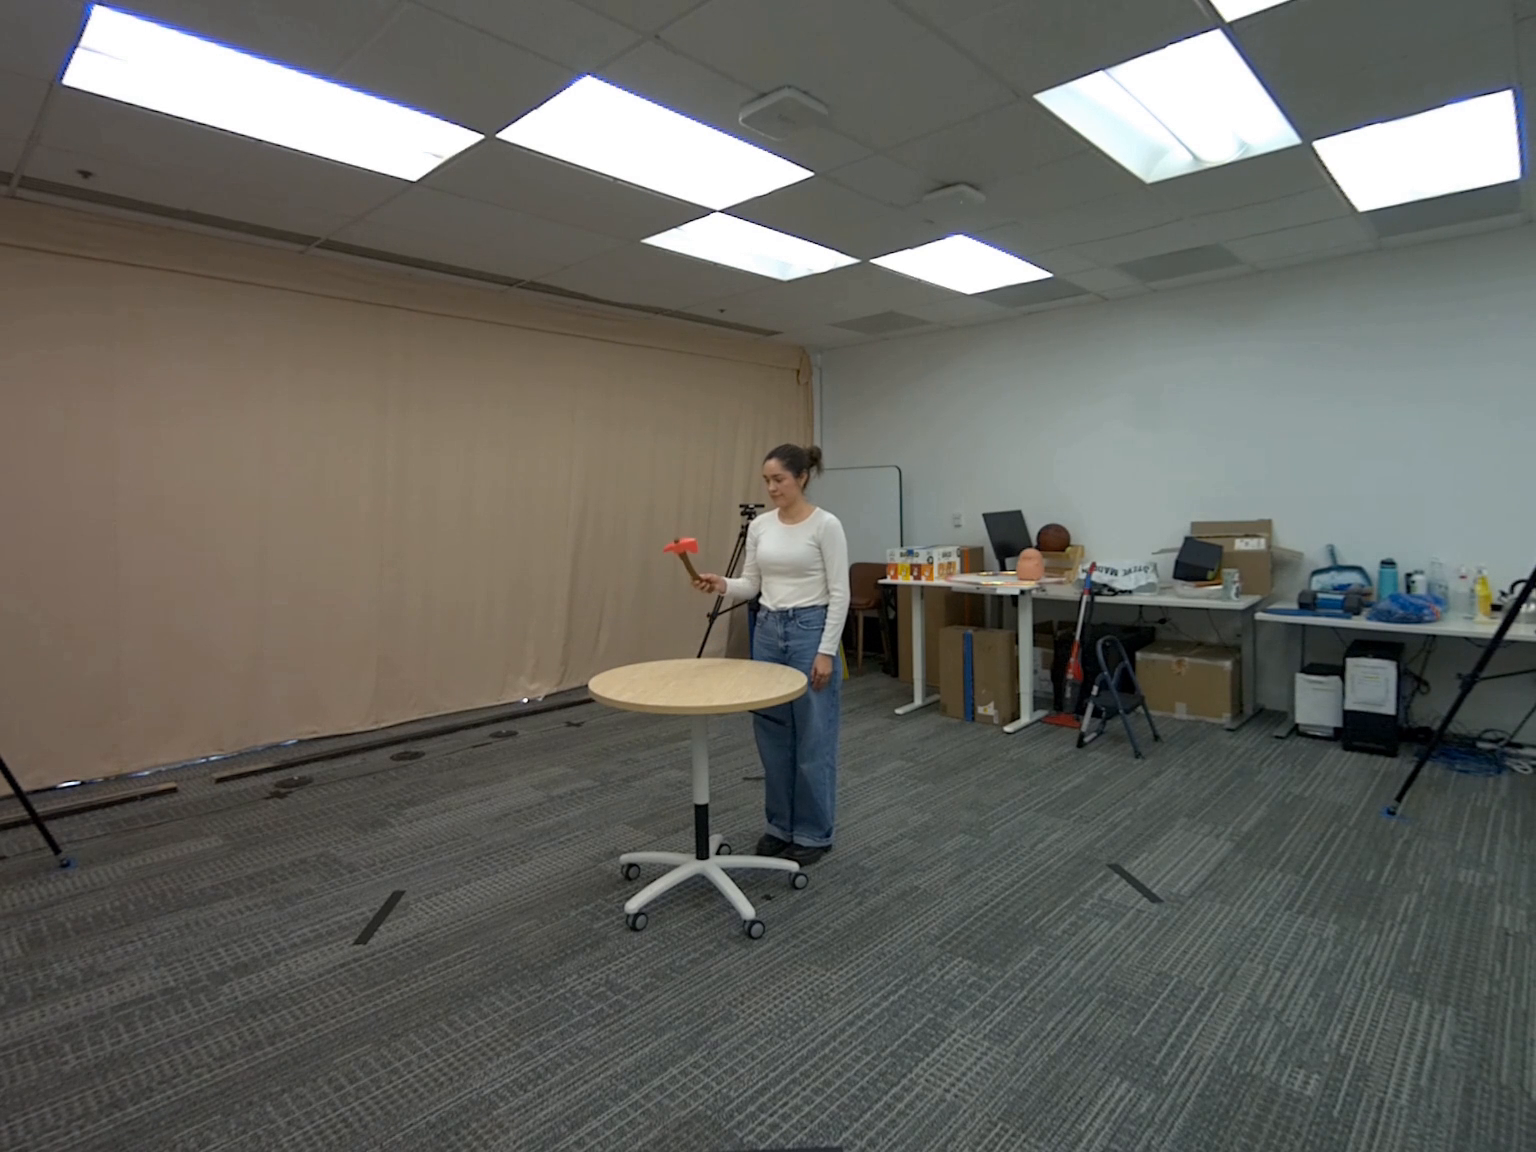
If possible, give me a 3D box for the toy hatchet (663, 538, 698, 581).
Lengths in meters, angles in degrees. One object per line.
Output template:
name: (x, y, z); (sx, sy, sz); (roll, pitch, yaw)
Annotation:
toy hatchet: (-0.265, -0.041, 3.150); (0.132, 0.263, 0.030); (-34, 27, 21)
